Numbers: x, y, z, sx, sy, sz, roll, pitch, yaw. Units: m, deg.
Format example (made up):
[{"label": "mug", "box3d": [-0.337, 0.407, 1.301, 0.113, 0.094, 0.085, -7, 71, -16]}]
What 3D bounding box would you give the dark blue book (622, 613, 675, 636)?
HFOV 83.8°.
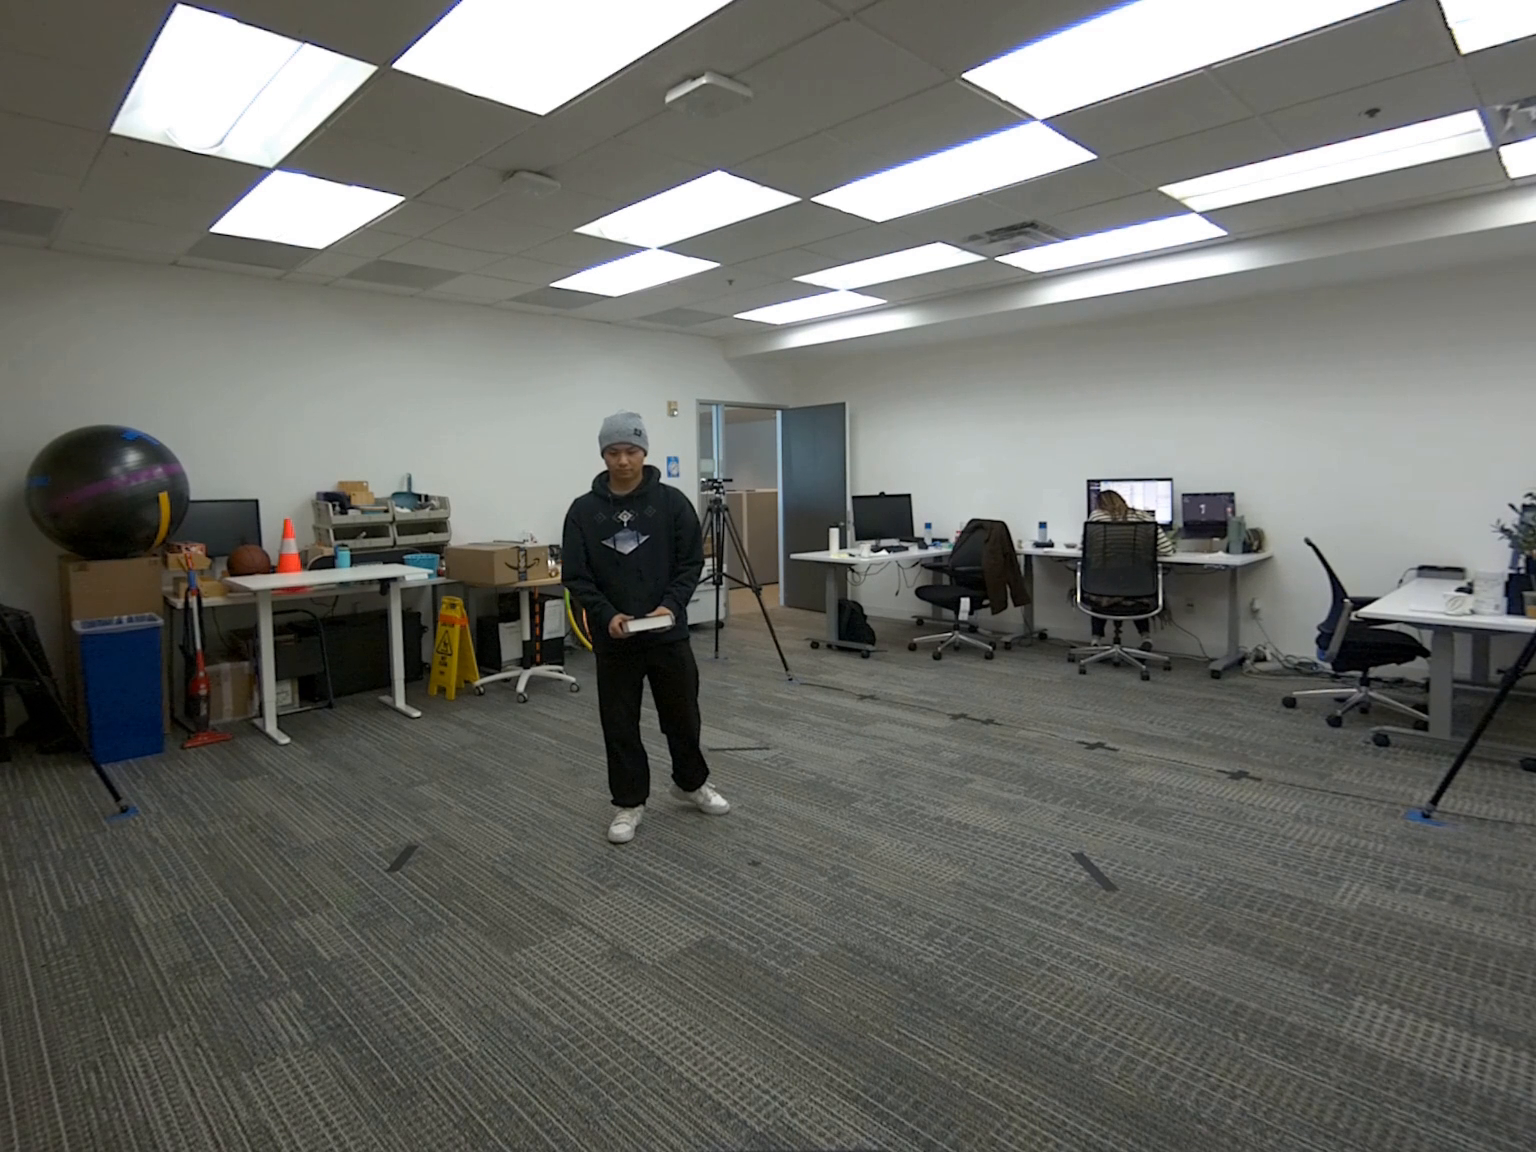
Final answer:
[{"label": "dark blue book", "box3d": [-0.438, 0.178, 3.127, 0.162, 0.045, 0.247, -10, -1, -14]}]
